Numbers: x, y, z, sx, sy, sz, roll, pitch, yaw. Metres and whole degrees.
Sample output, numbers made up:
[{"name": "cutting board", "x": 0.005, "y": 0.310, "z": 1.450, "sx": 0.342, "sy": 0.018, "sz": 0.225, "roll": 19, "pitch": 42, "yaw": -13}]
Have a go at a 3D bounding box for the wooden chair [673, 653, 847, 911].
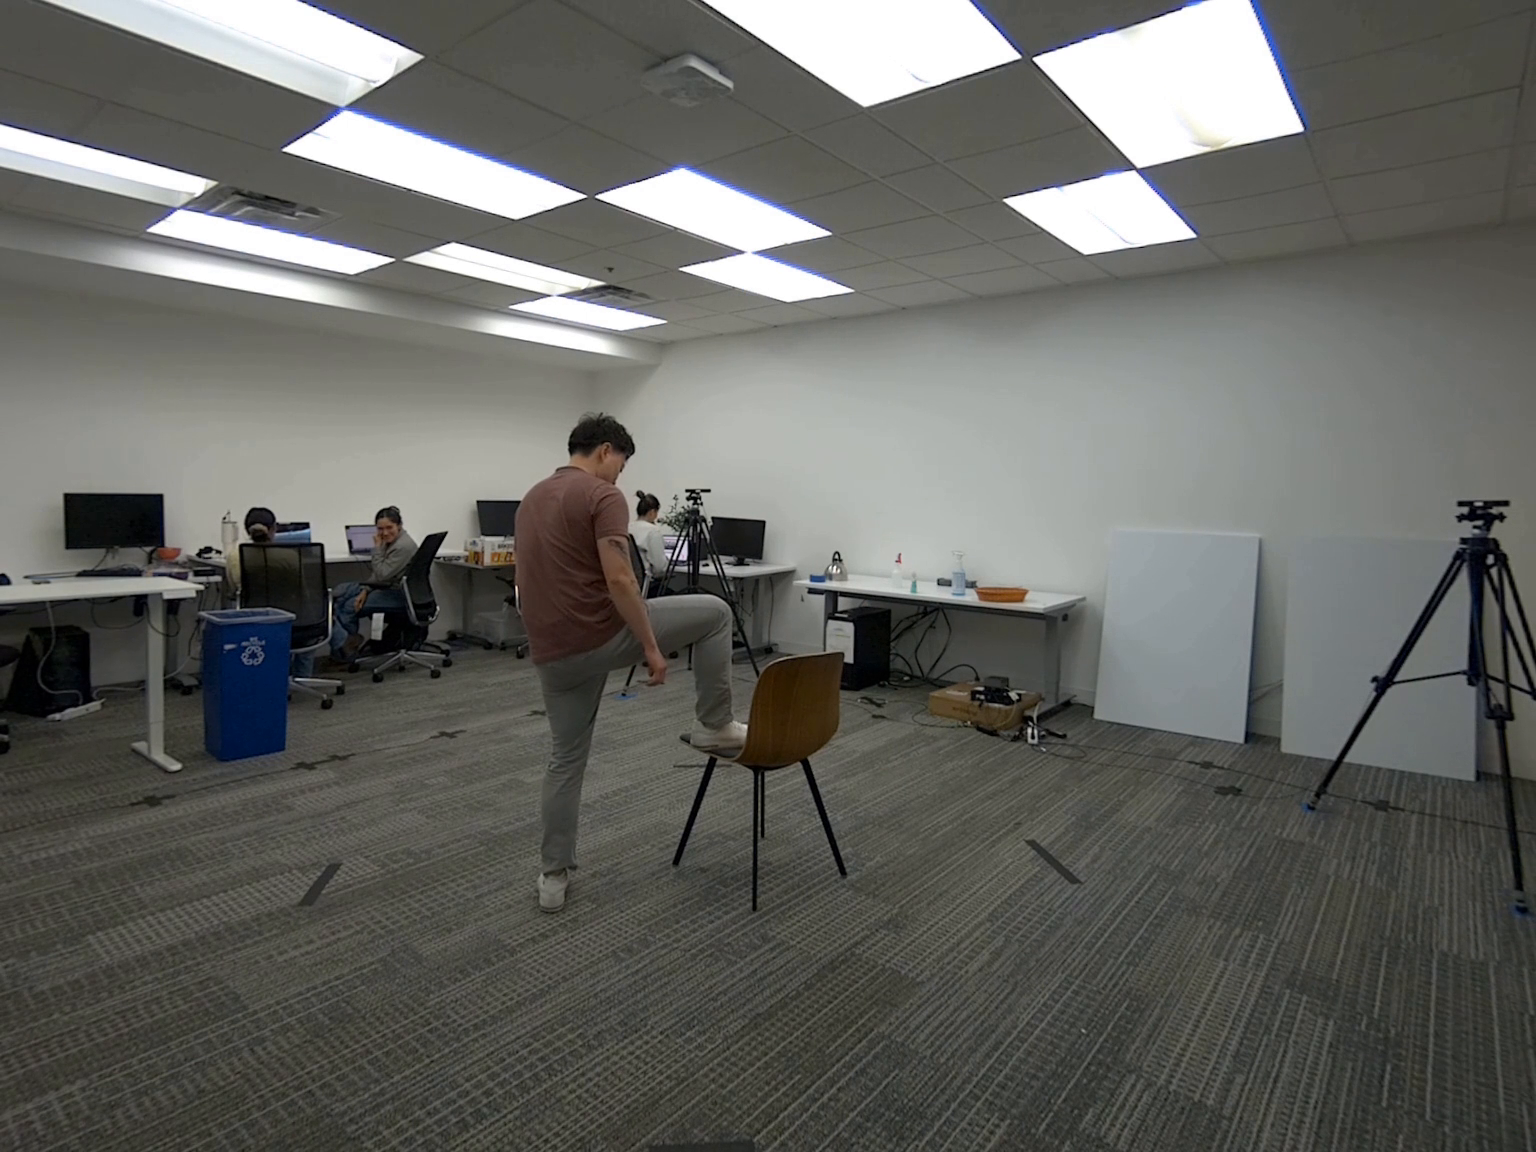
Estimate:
[{"name": "wooden chair", "x": -0.039, "y": 0.654, "z": 3.100, "sx": 0.463, "sy": 0.872, "sz": 0.542, "roll": -2, "pitch": 9, "yaw": -42}]
